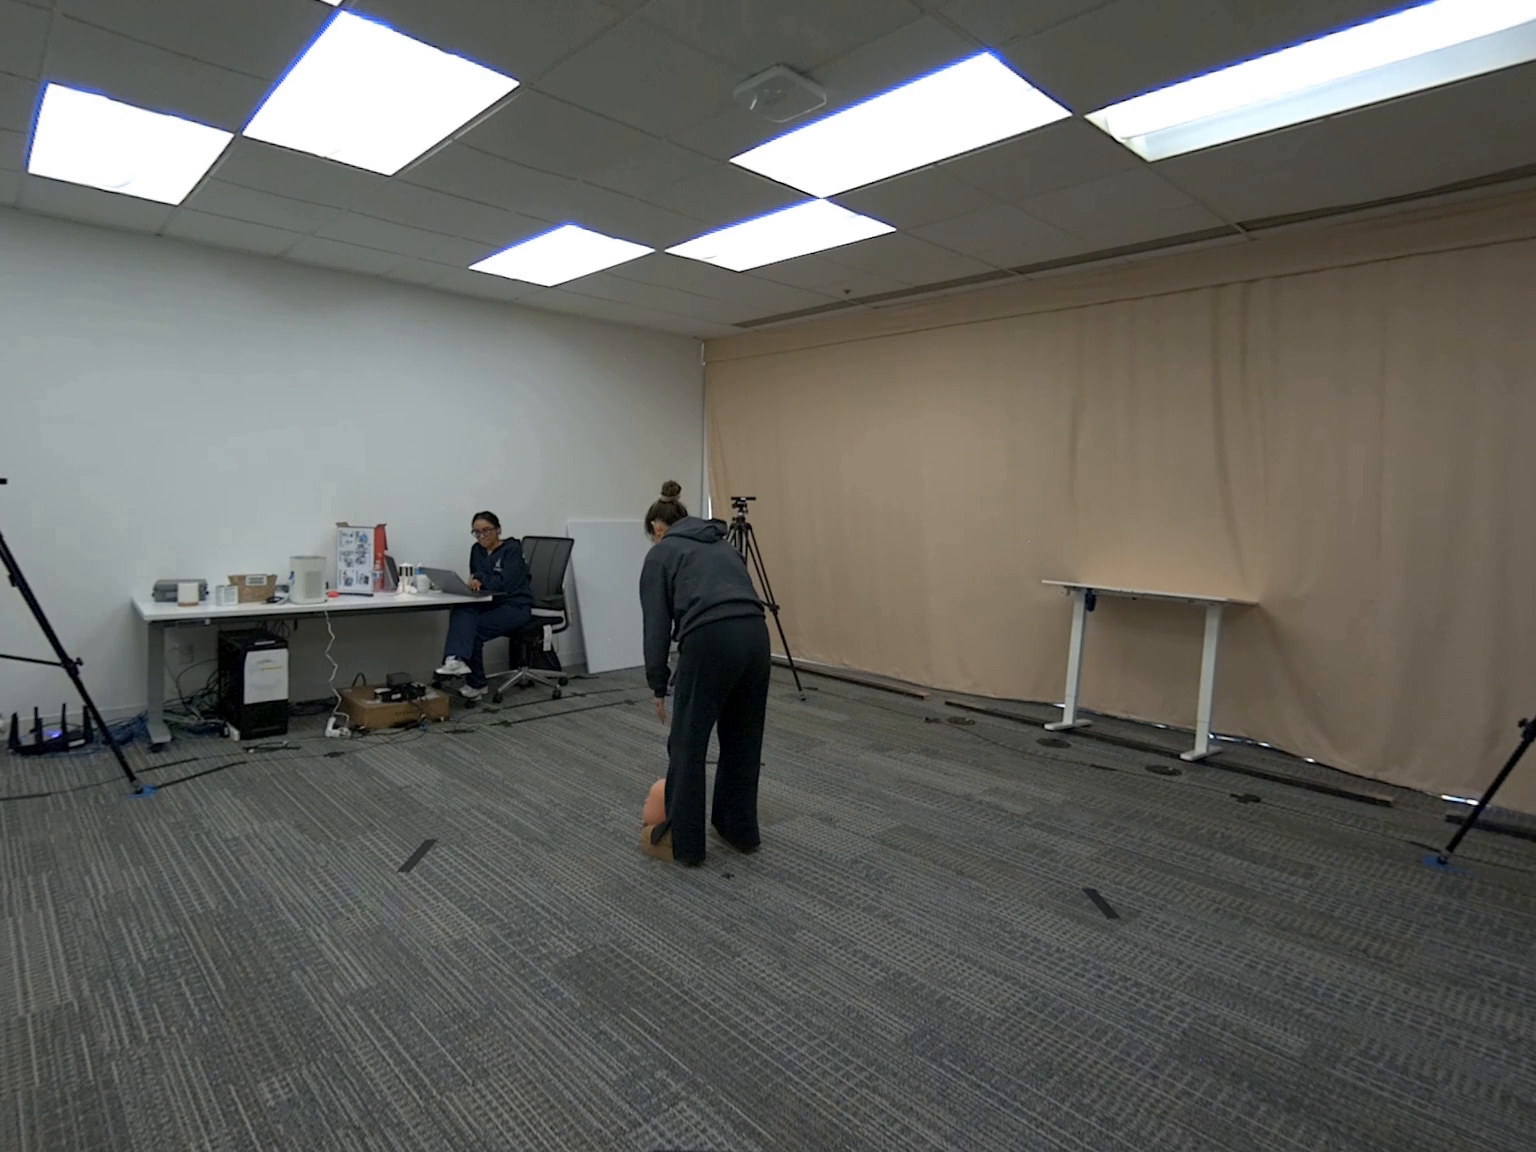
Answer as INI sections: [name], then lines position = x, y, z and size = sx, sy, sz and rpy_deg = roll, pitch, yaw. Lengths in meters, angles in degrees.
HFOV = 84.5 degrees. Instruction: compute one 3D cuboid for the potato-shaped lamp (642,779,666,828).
[potato-shaped lamp]
position = -0.458, 0.956, 3.576
size = 0.176, 0.197, 0.161
rpy_deg = 12, 10, 32
